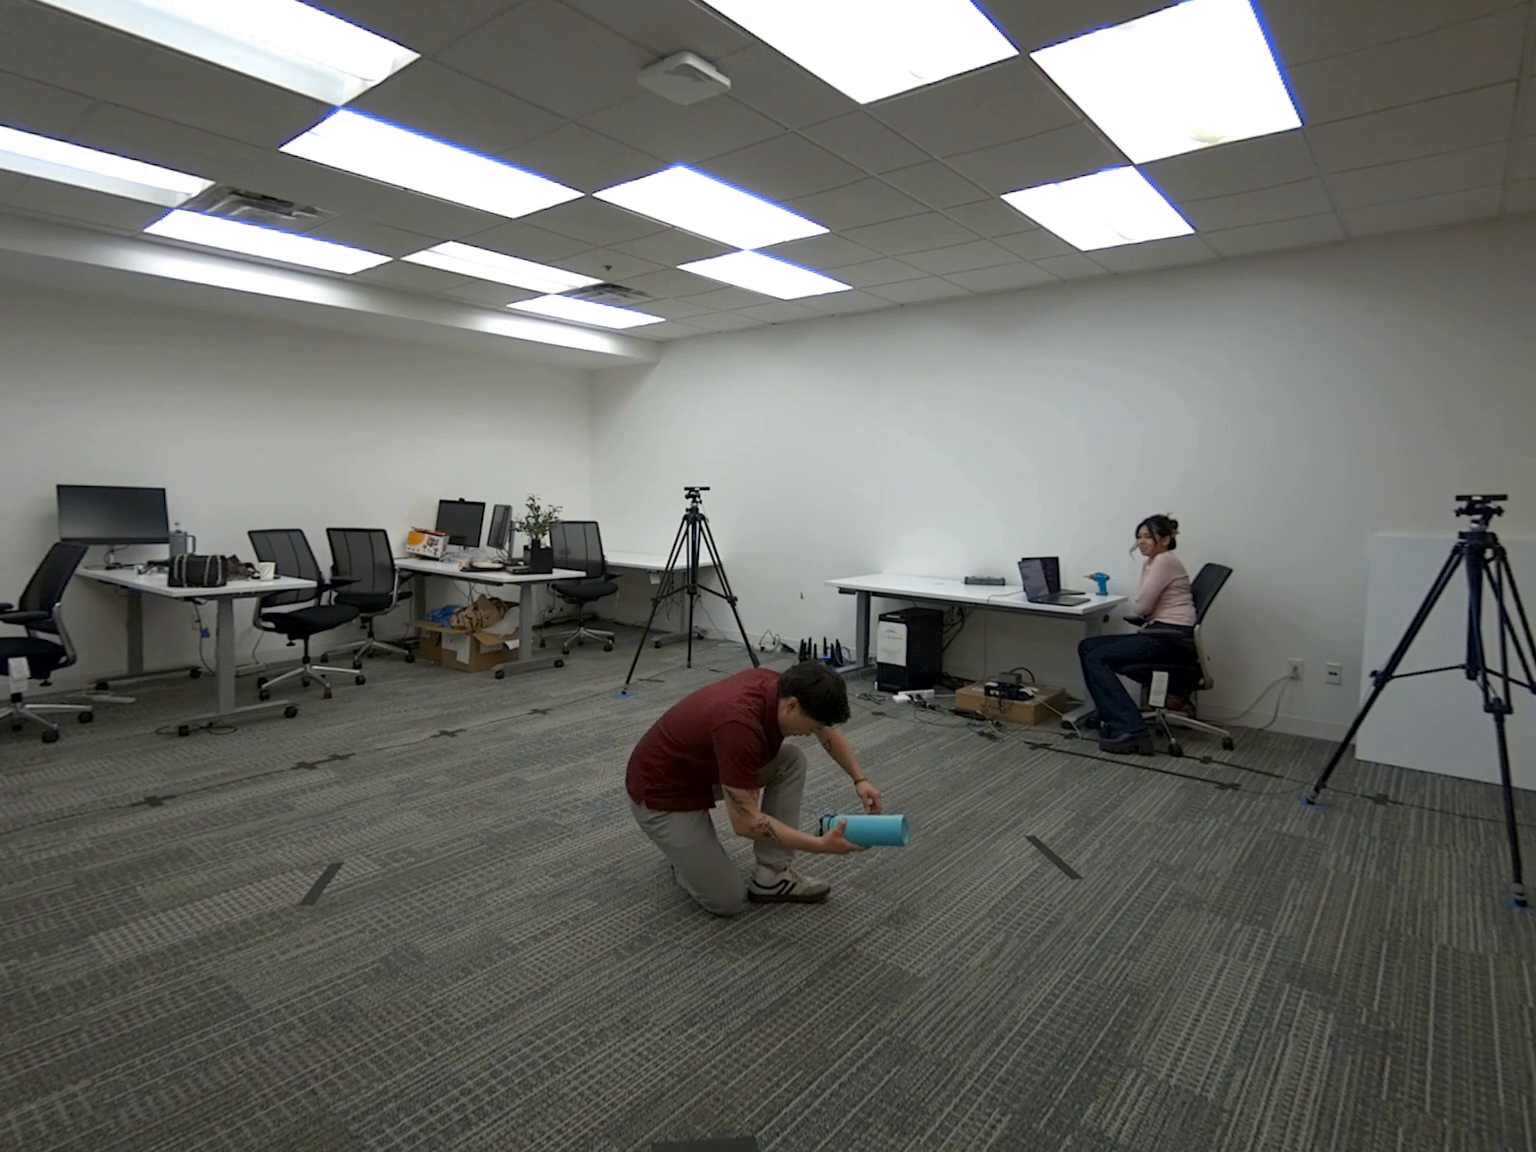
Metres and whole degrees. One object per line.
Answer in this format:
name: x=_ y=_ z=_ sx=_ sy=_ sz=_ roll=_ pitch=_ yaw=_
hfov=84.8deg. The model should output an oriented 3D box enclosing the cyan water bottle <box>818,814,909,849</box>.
cyan water bottle: x=0.281 y=0.769 z=2.636 sx=0.290 sy=0.092 sz=0.090 roll=-6 pitch=0 yaw=28
